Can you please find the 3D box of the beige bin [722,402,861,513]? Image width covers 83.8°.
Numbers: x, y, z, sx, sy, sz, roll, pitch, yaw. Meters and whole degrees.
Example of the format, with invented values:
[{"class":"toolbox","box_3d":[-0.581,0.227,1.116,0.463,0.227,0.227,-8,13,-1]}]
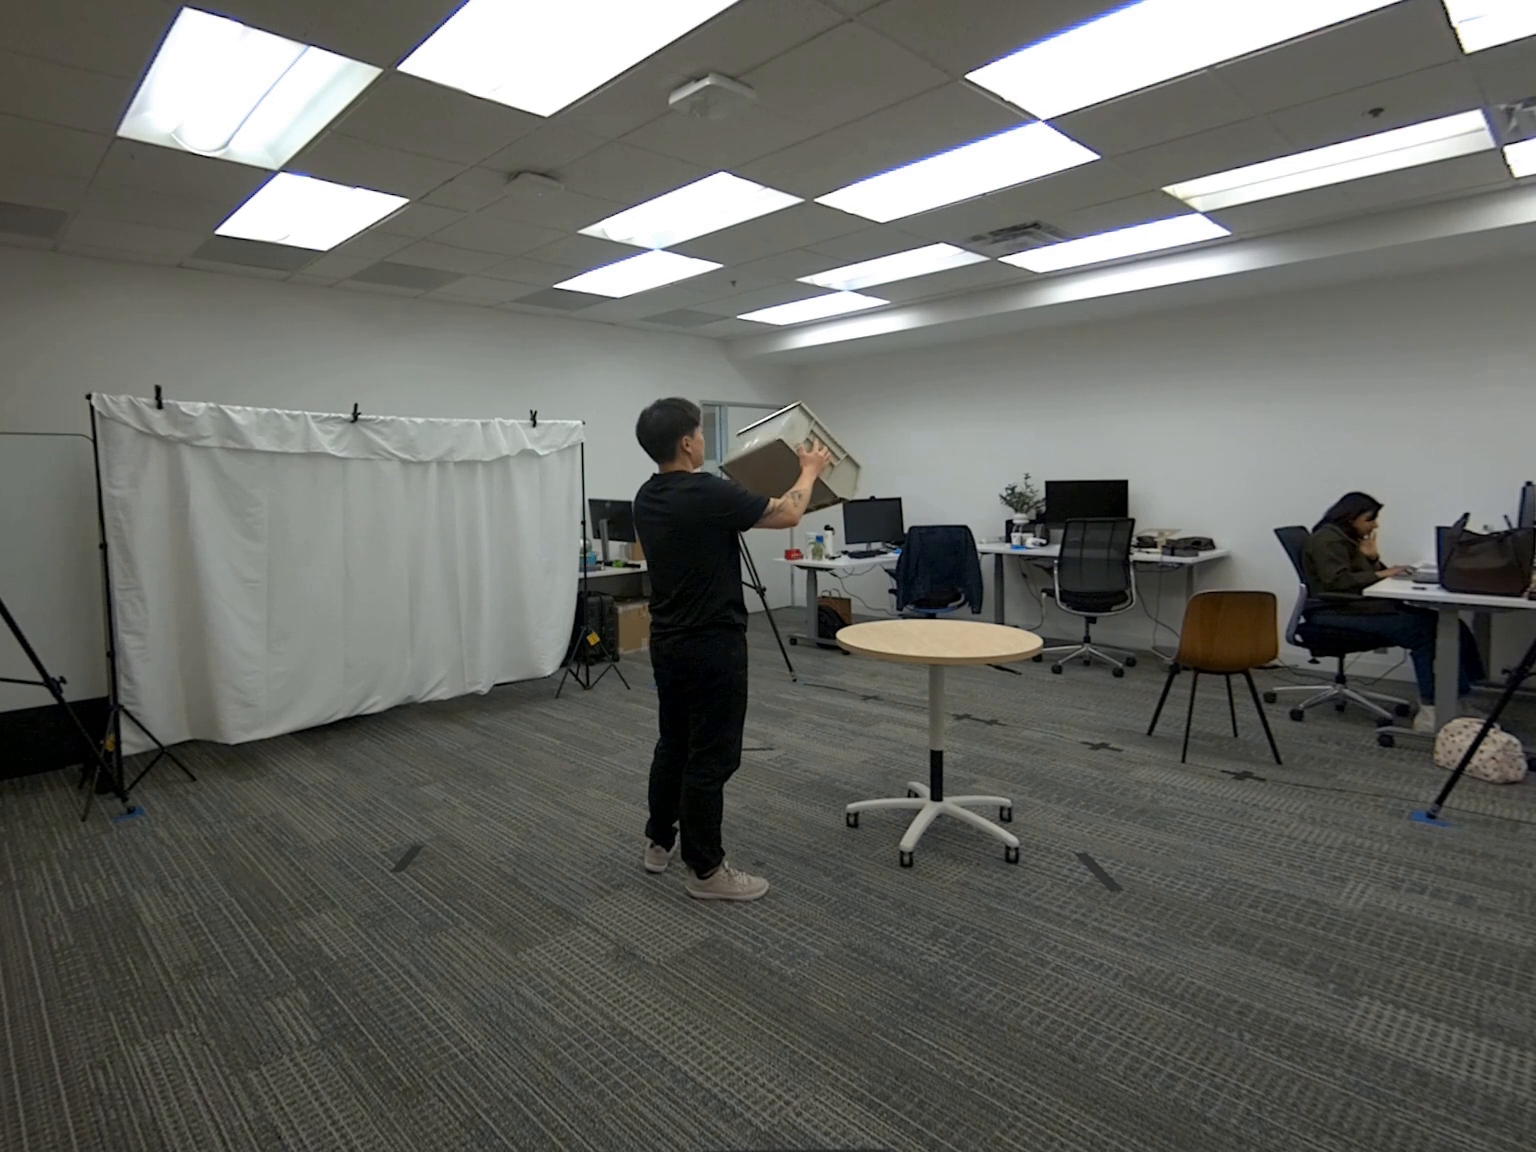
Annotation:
[{"class":"beige bin","box_3d":[0.082,-0.403,3.225,0.368,0.190,0.430,44,-30,-20]}]
